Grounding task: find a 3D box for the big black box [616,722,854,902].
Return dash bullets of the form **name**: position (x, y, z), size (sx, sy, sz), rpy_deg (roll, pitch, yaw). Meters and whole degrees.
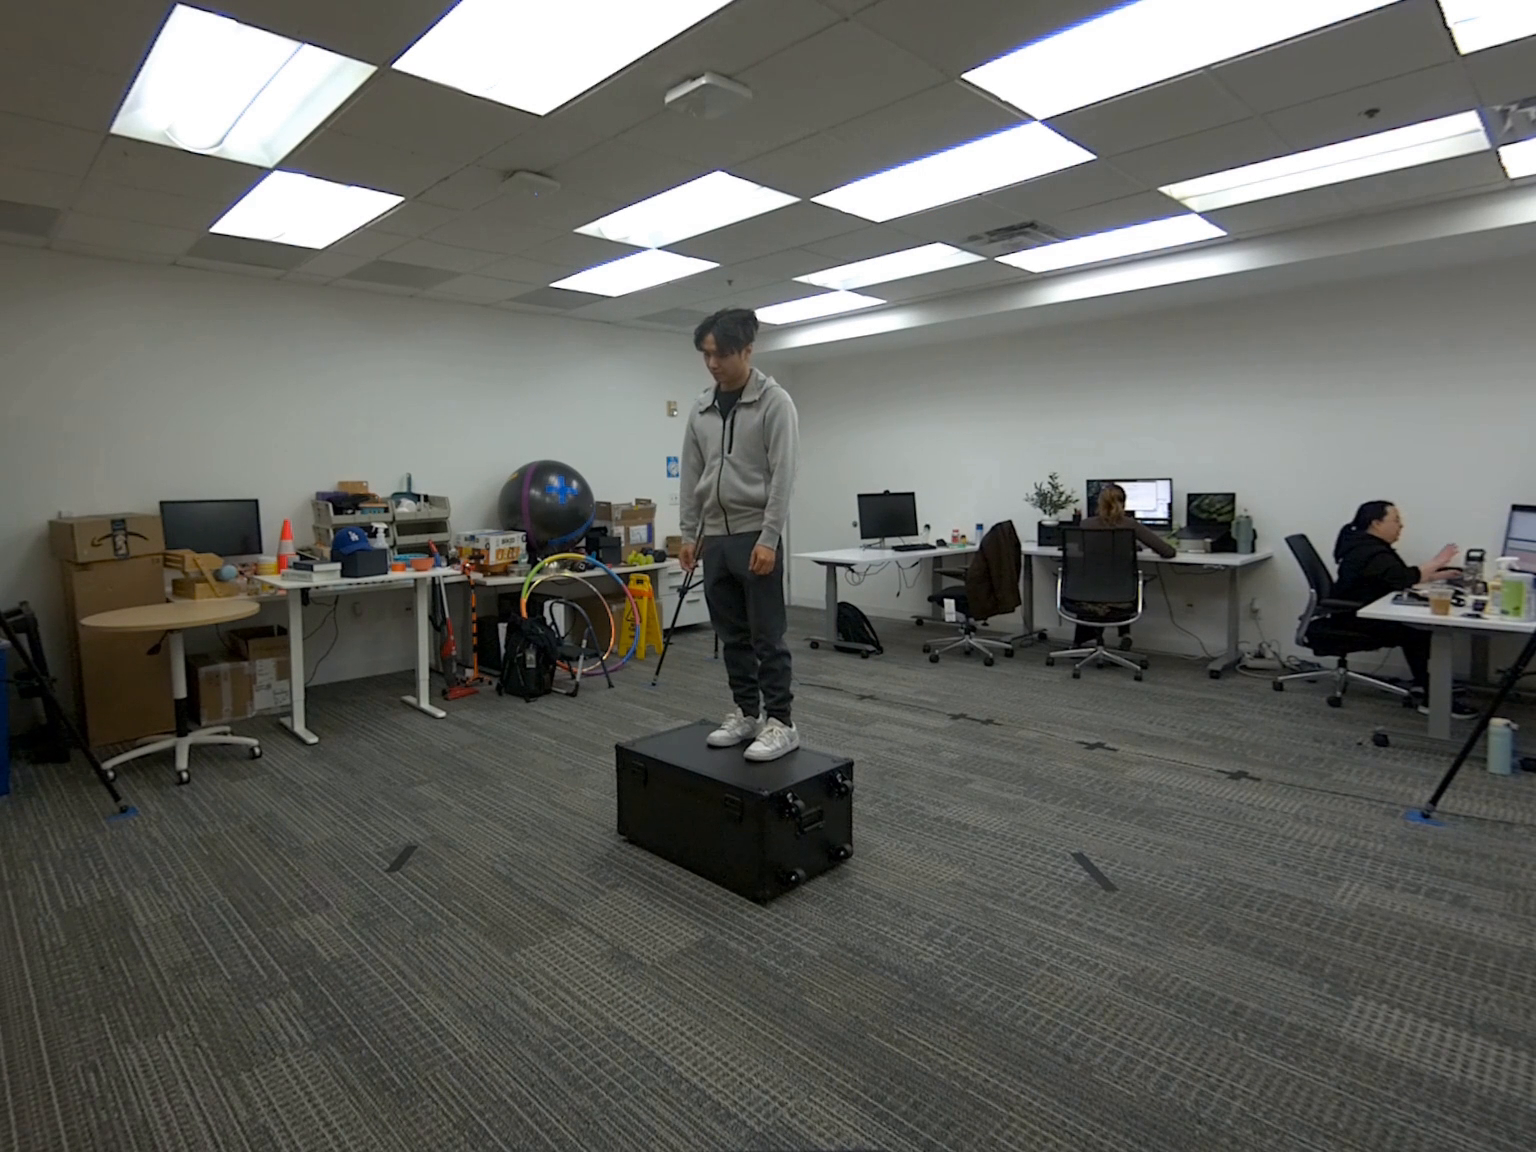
- **big black box**: position (-0.116, 0.847, 3.187), size (0.888, 0.395, 0.507), rpy_deg (4, 7, 43)
